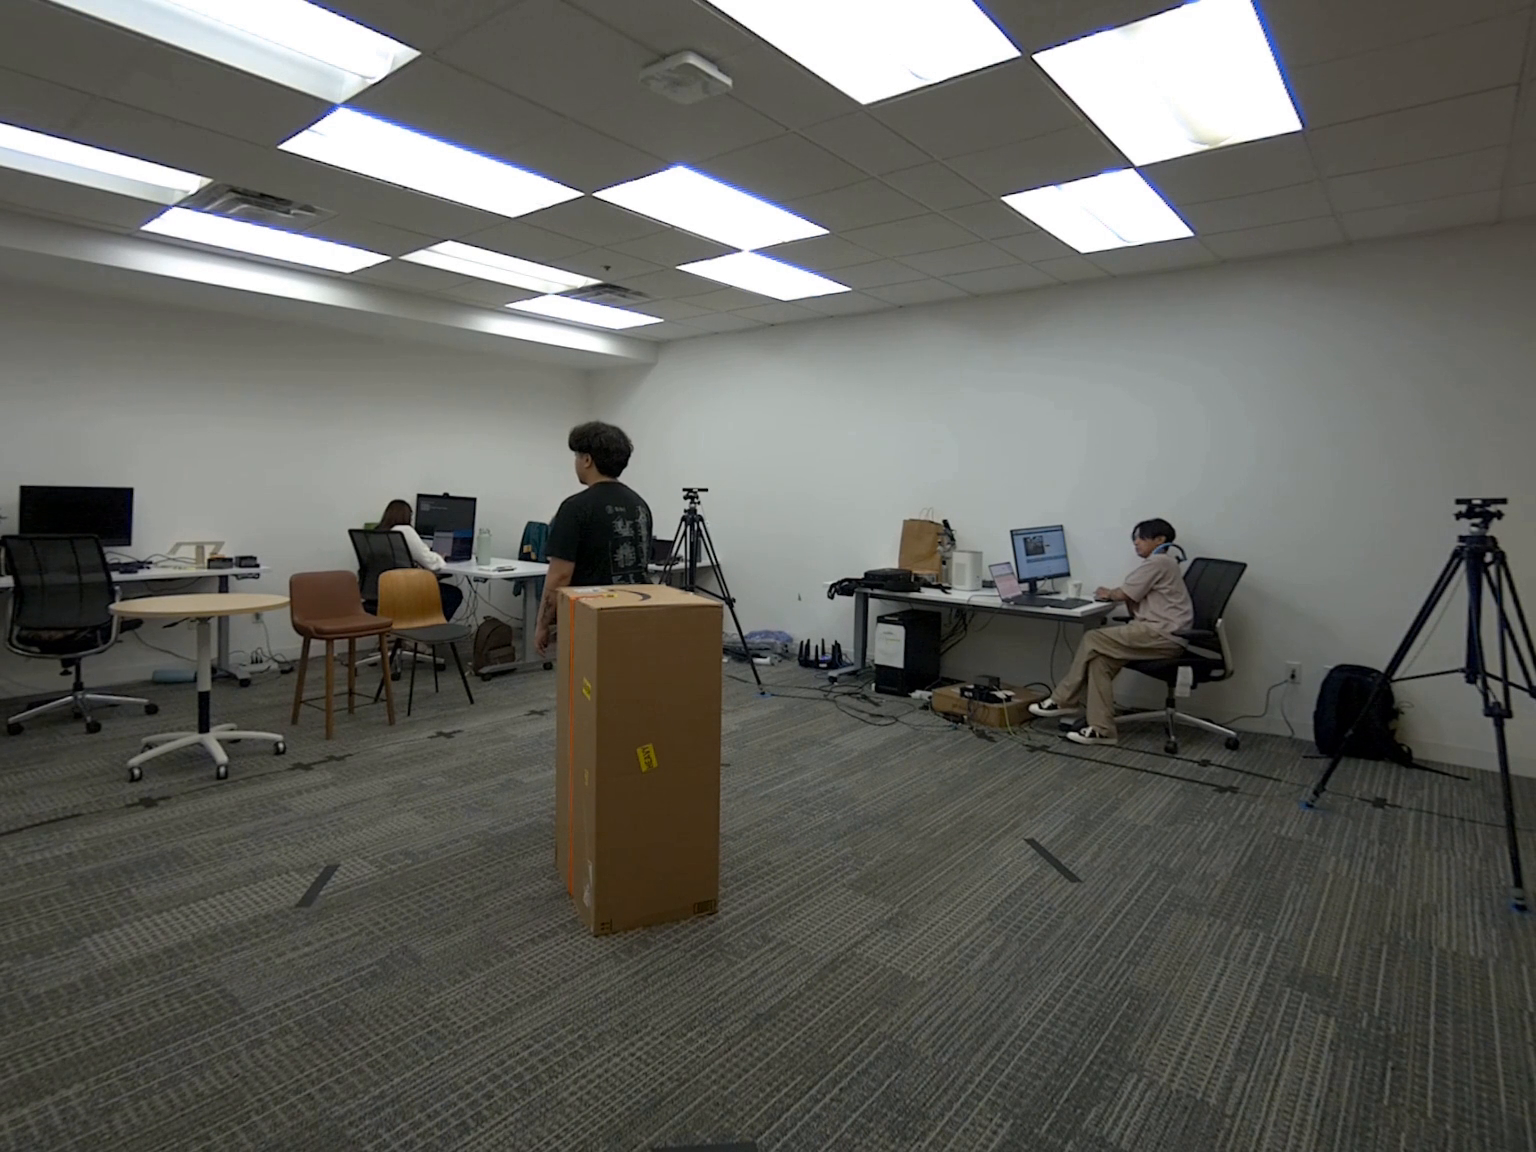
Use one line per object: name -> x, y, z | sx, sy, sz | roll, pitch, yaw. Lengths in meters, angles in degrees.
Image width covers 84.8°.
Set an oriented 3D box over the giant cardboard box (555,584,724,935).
giant cardboard box -> -0.476, 0.569, 2.939 | 0.437, 1.024, 0.599 | -1, 4, -25
